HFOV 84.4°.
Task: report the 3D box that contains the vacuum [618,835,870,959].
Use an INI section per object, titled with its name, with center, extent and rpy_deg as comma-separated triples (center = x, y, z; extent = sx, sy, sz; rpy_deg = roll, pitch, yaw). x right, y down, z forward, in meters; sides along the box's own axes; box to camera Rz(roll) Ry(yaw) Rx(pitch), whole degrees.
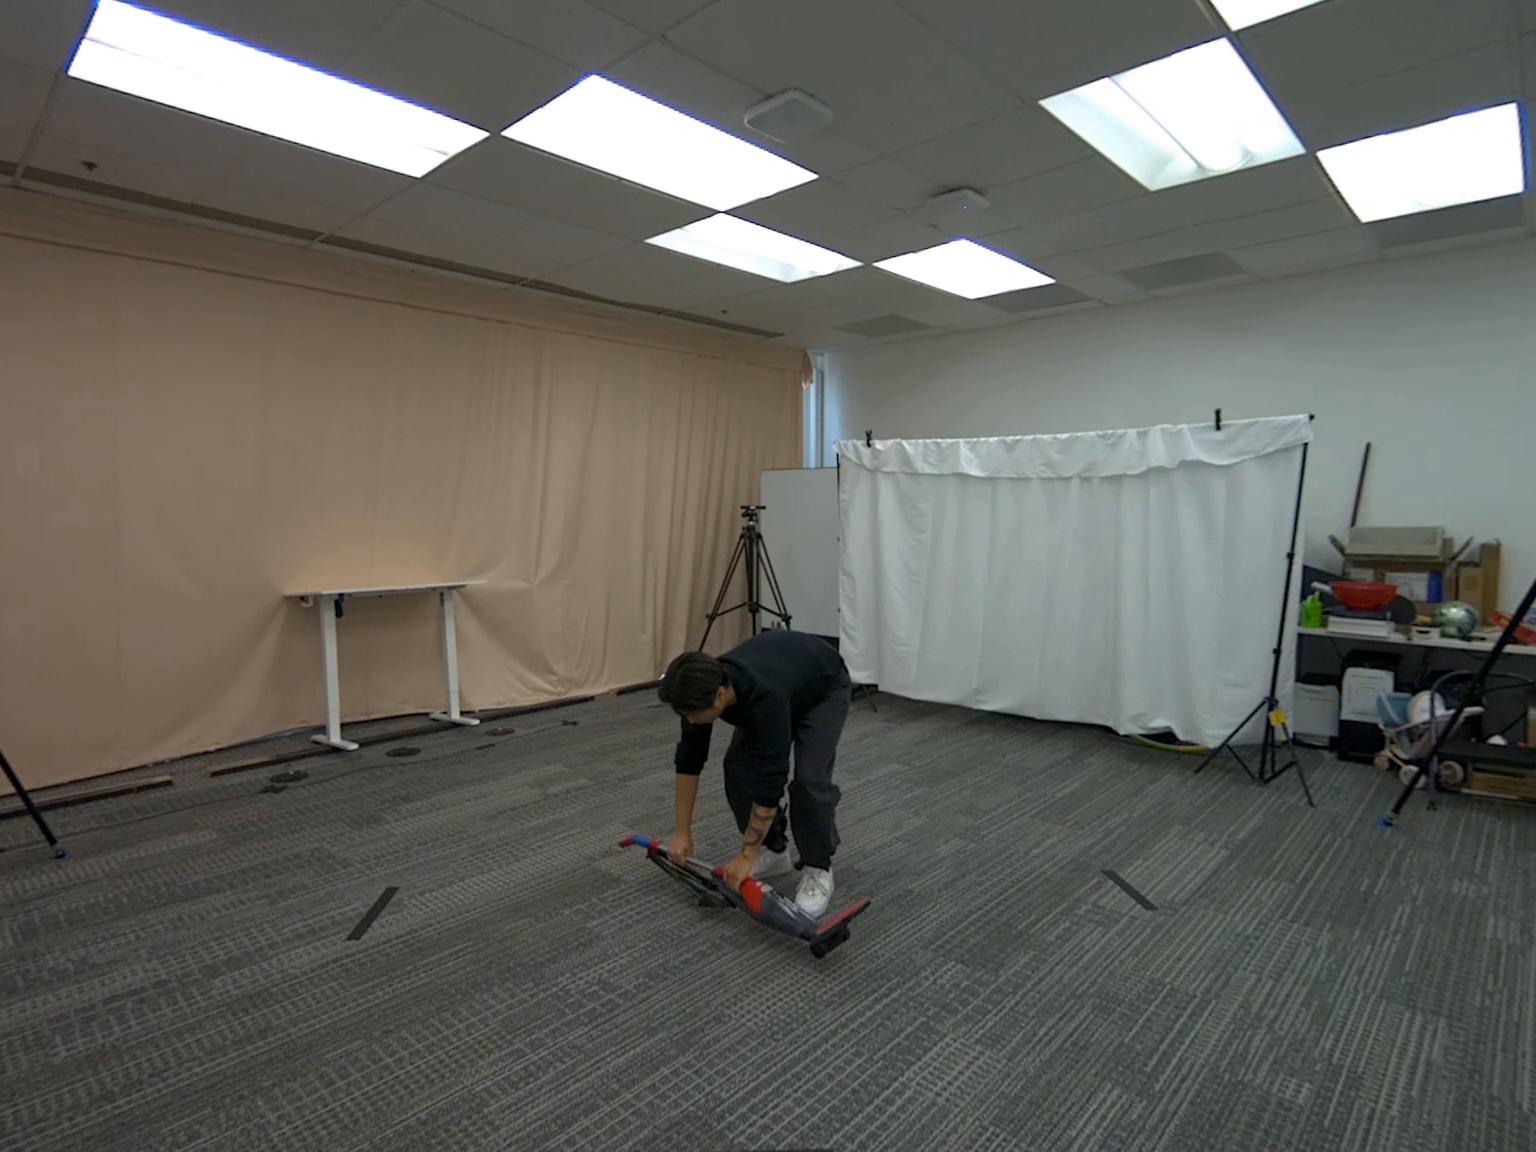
[vacuum]
center = -0.191, 1.044, 2.855
extent = 1.084, 0.143, 0.245
rpy_deg = 2, 7, 44
